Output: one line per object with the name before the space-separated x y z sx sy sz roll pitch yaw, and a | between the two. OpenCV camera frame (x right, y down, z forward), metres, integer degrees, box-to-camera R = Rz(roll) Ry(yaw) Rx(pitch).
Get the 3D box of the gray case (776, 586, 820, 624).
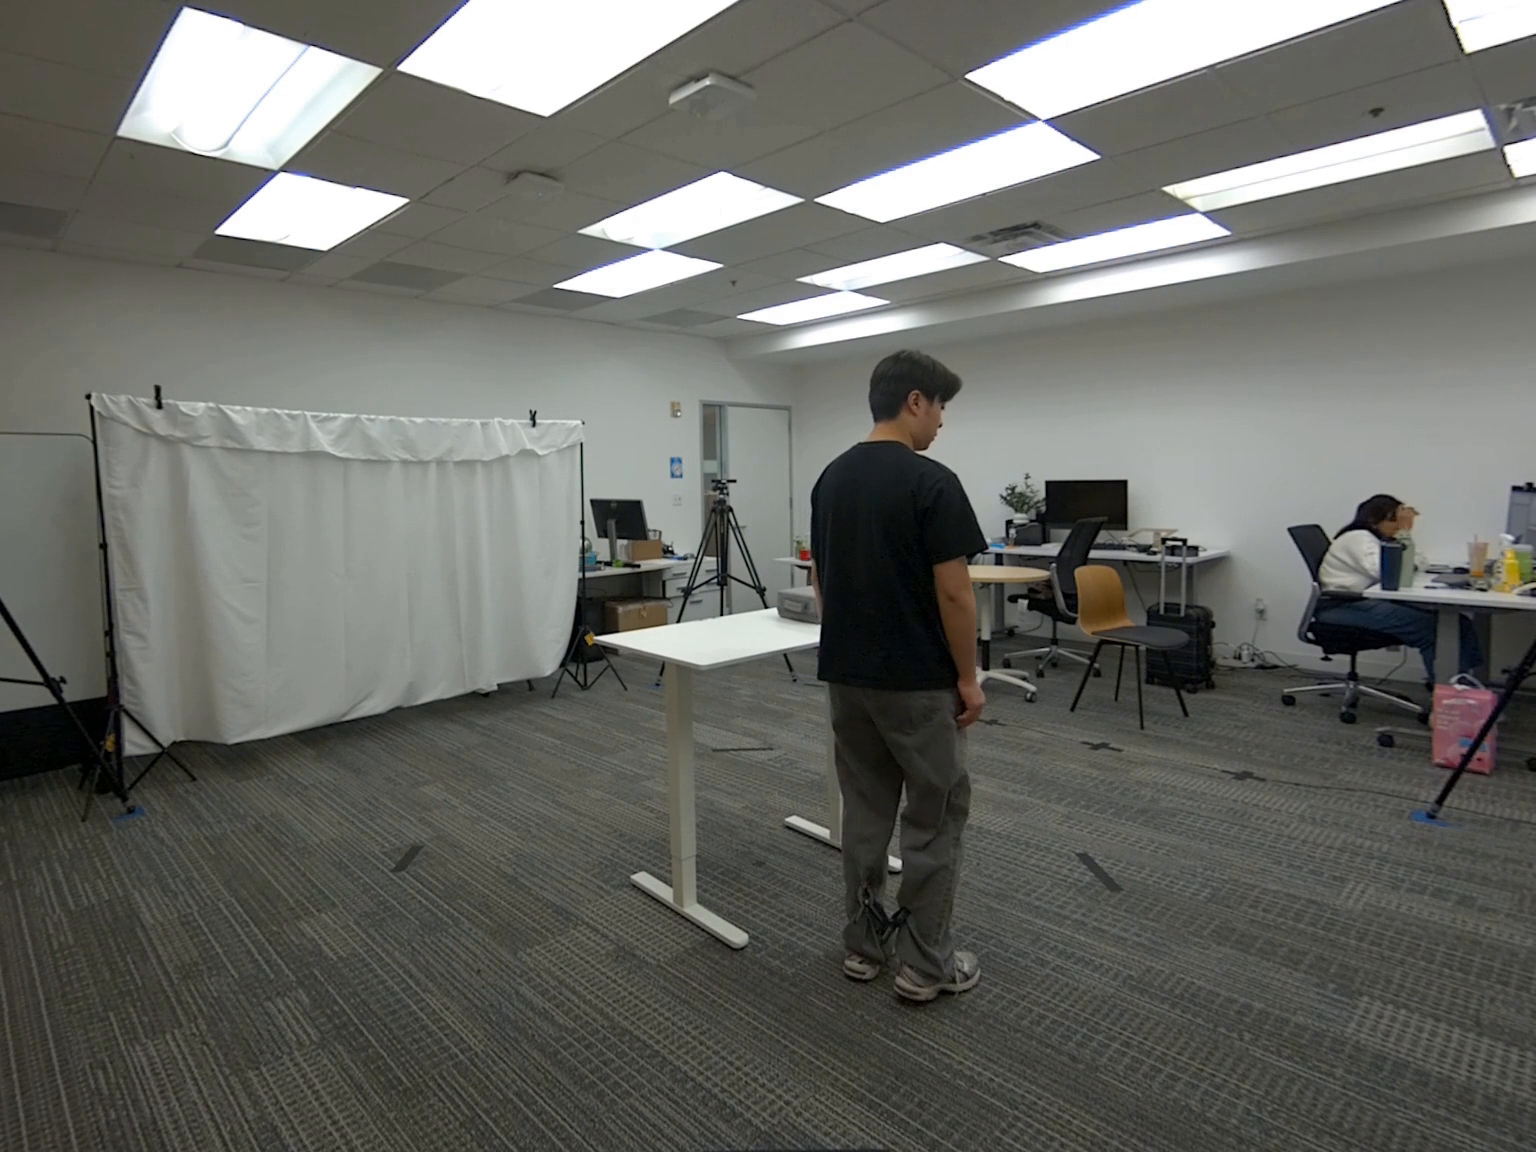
gray case | 0.187 0.100 3.146 0.280 0.102 0.271 -6 8 -35
